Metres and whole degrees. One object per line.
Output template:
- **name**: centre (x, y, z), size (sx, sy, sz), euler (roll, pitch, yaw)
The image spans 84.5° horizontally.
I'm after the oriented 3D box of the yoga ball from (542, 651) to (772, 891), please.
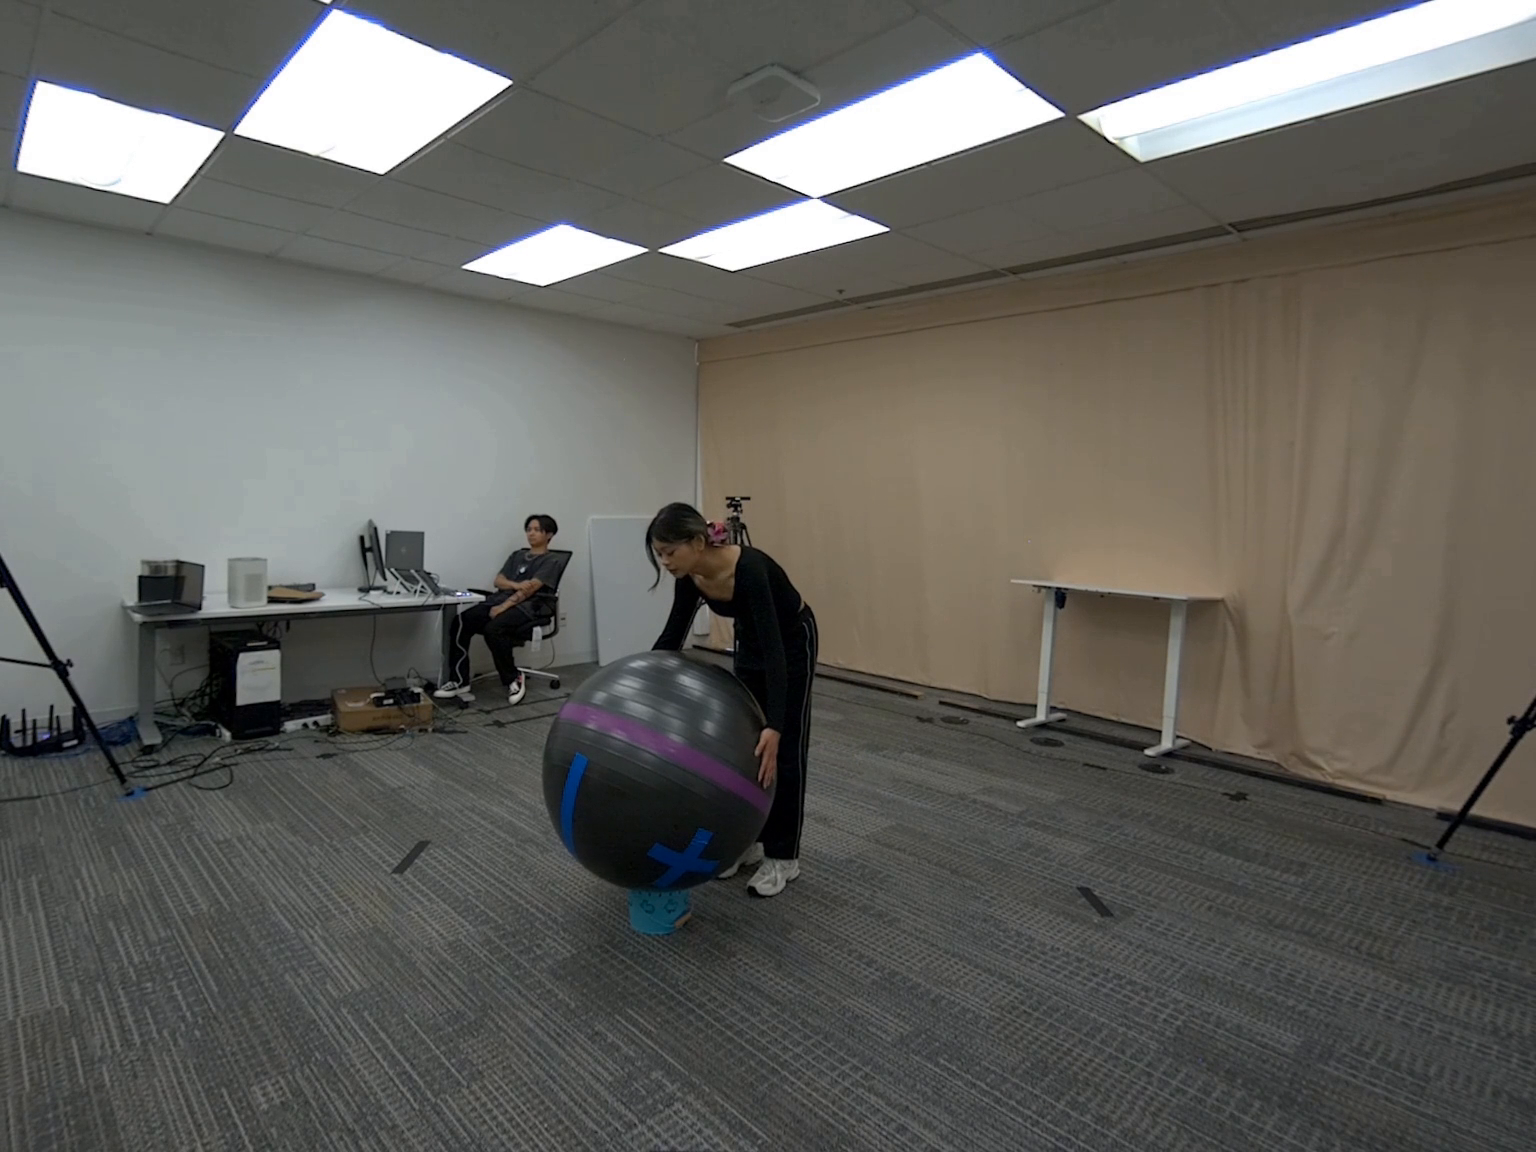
- **yoga ball**: centre (-0.358, 0.631, 2.734), size (0.757, 0.756, 0.761), euler (1, 4, -1)
